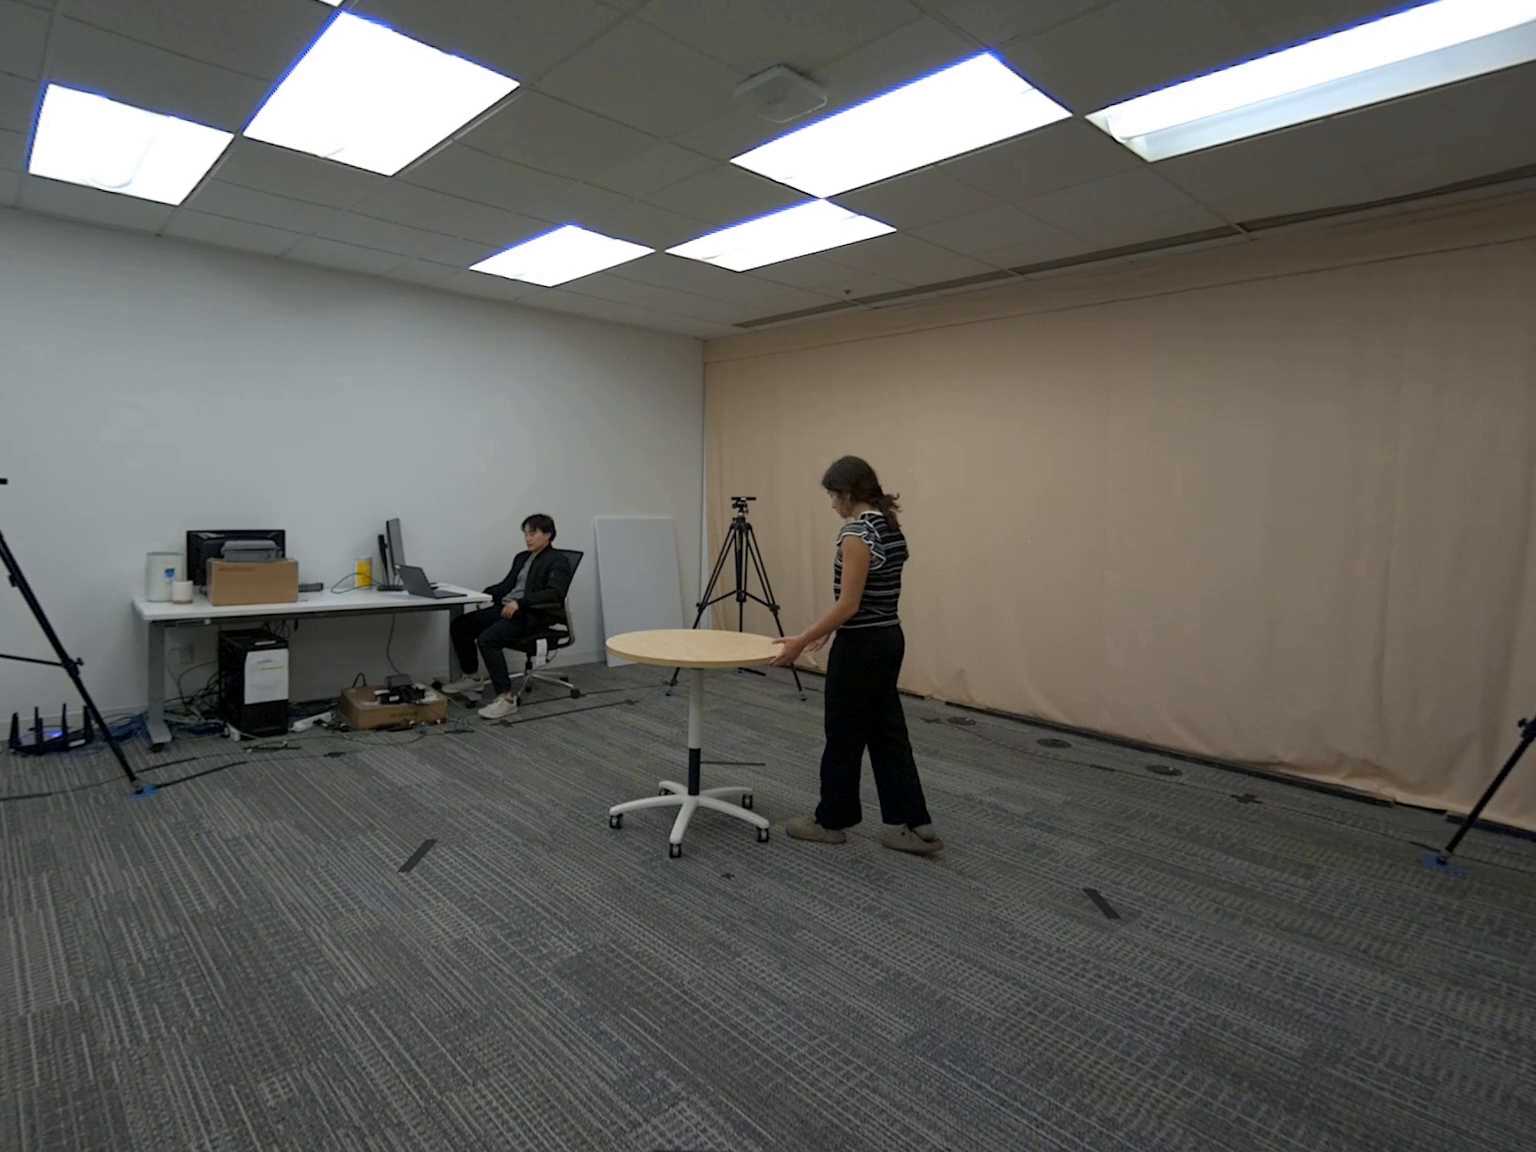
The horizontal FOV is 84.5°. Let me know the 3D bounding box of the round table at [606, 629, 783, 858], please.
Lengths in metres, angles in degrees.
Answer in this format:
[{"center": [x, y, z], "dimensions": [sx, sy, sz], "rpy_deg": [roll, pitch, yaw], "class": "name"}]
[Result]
[{"center": [-0.316, 0.673, 3.544], "dimensions": [0.763, 0.792, 0.766], "rpy_deg": [2, 4, -1], "class": "round table"}]
